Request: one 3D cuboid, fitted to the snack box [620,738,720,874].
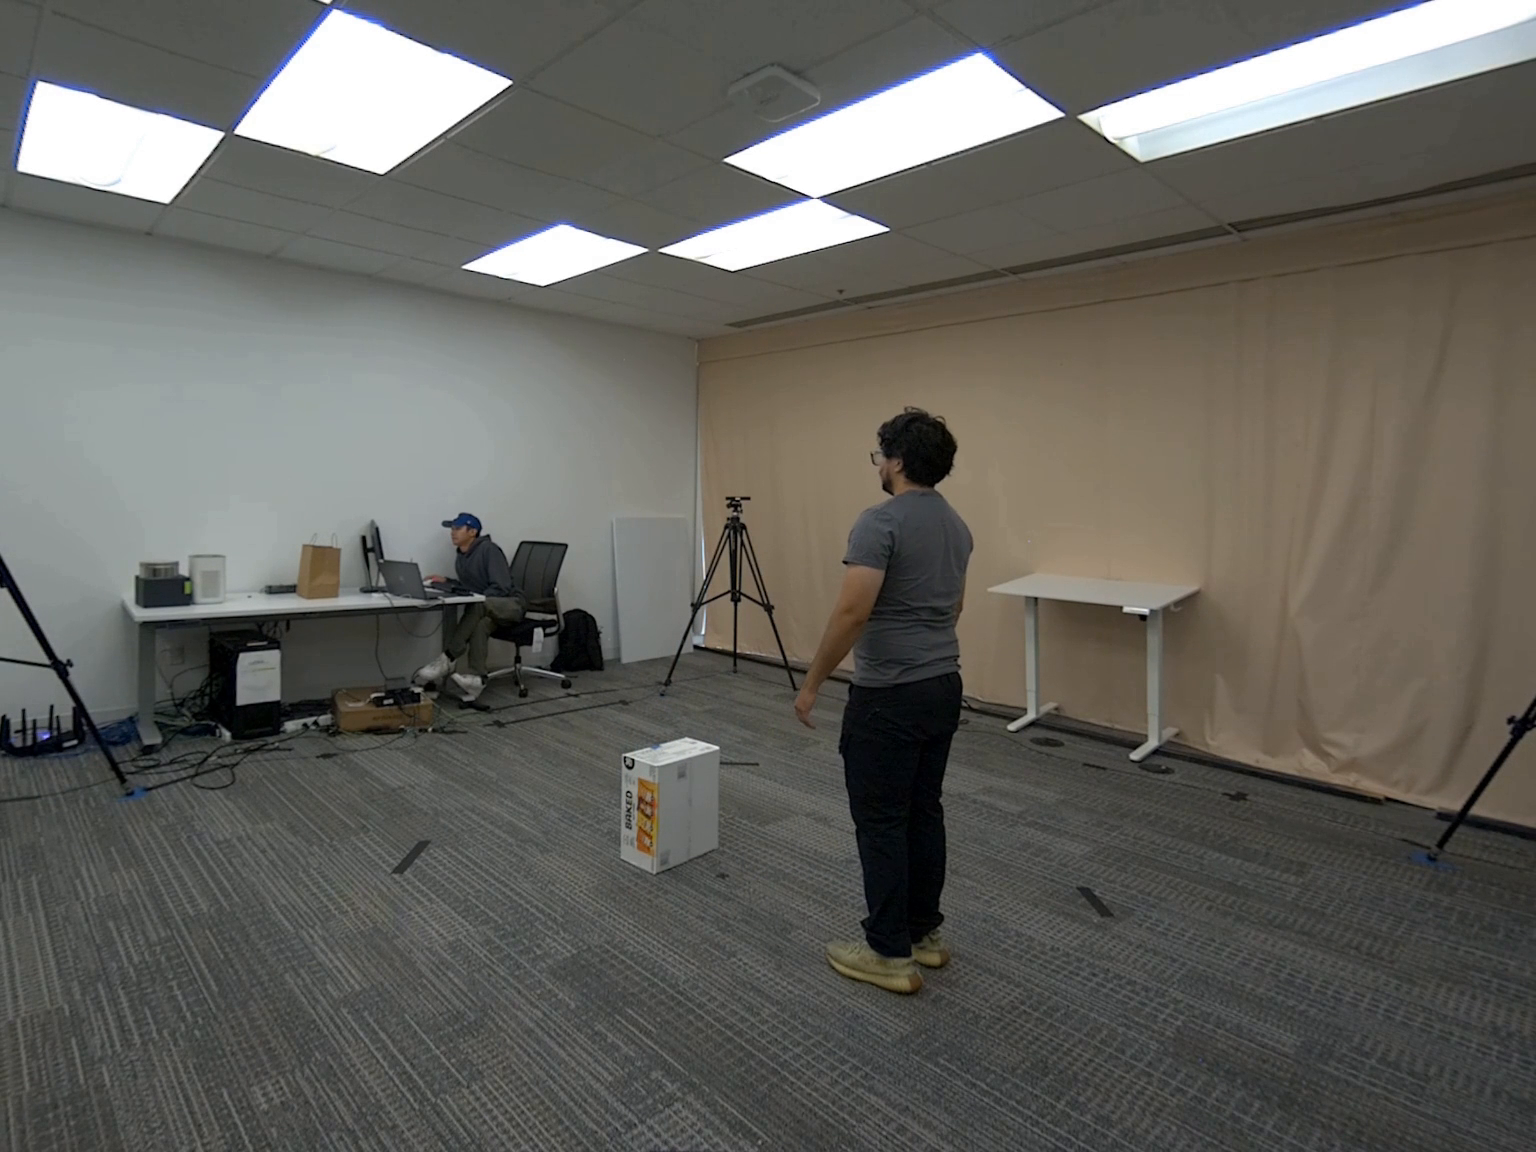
[{"bbox_3d":[-0.382,0.882,3.277,0.211,0.404,0.332,4,4,41],"label":"snack box"}]
